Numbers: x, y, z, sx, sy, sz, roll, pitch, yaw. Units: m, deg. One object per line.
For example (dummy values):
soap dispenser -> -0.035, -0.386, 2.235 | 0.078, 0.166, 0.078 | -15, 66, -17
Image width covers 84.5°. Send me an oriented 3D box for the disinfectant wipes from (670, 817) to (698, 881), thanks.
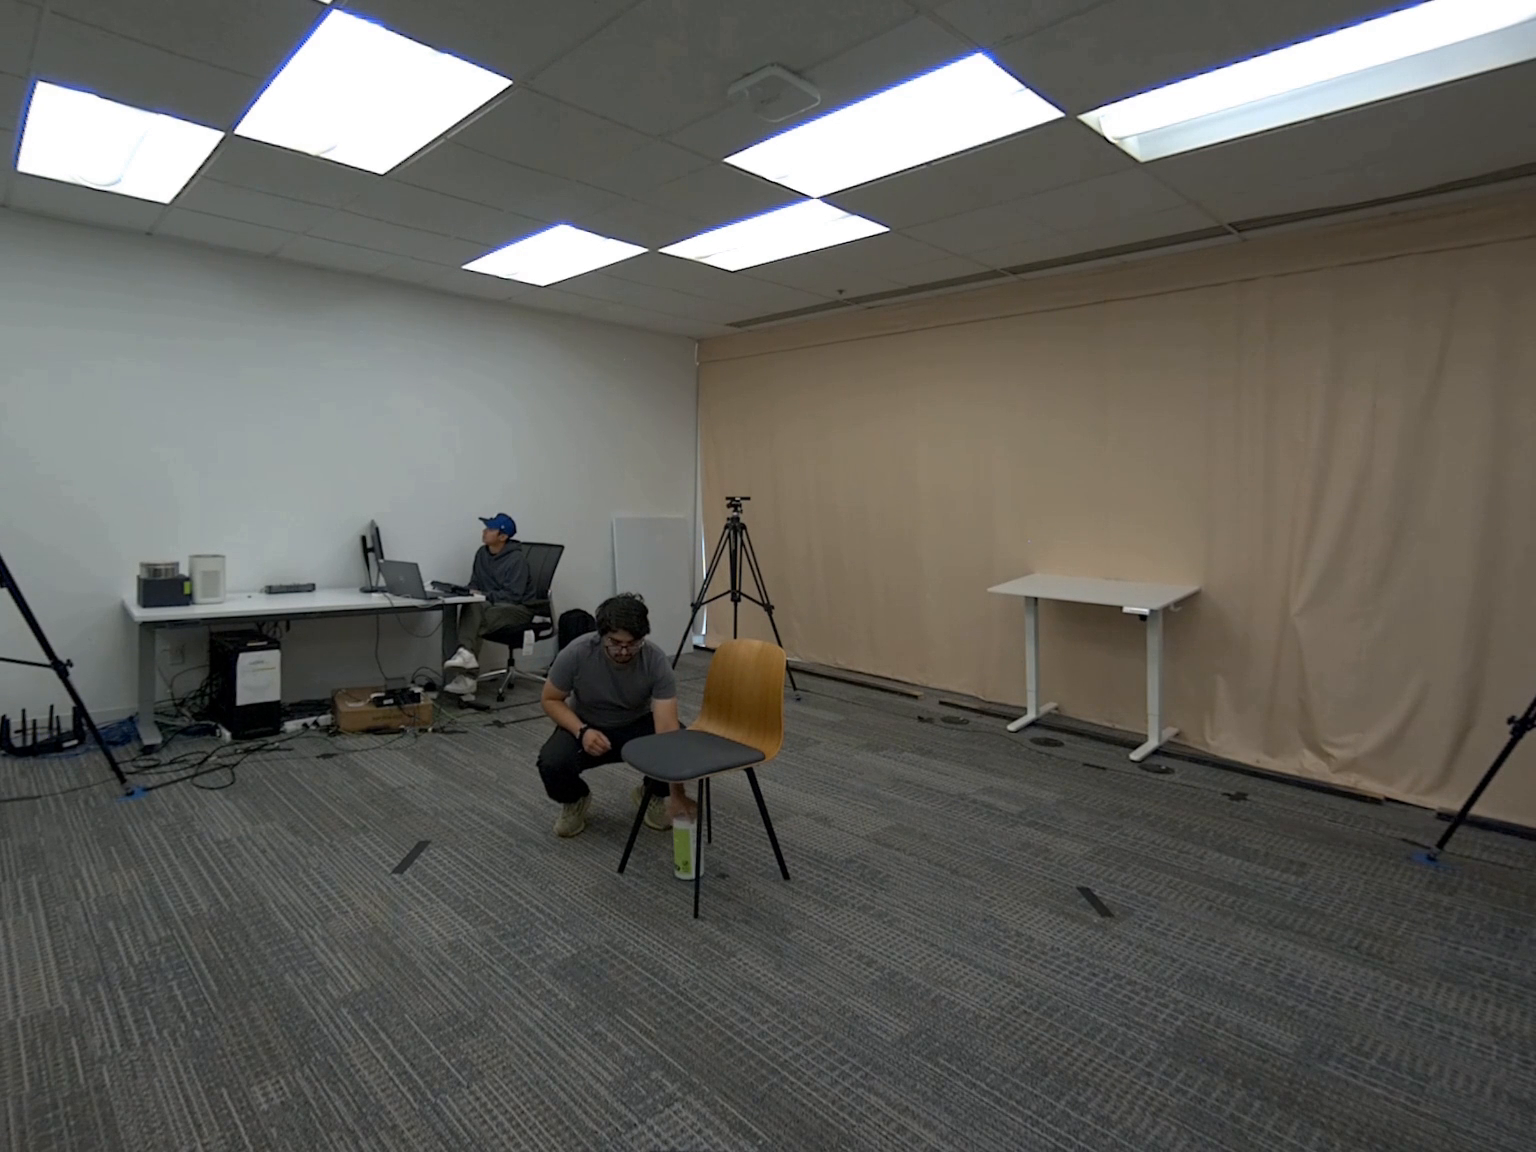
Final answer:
disinfectant wipes -> -0.305, 0.999, 3.112 | 0.118, 0.217, 0.118 | -3, 2, -1
